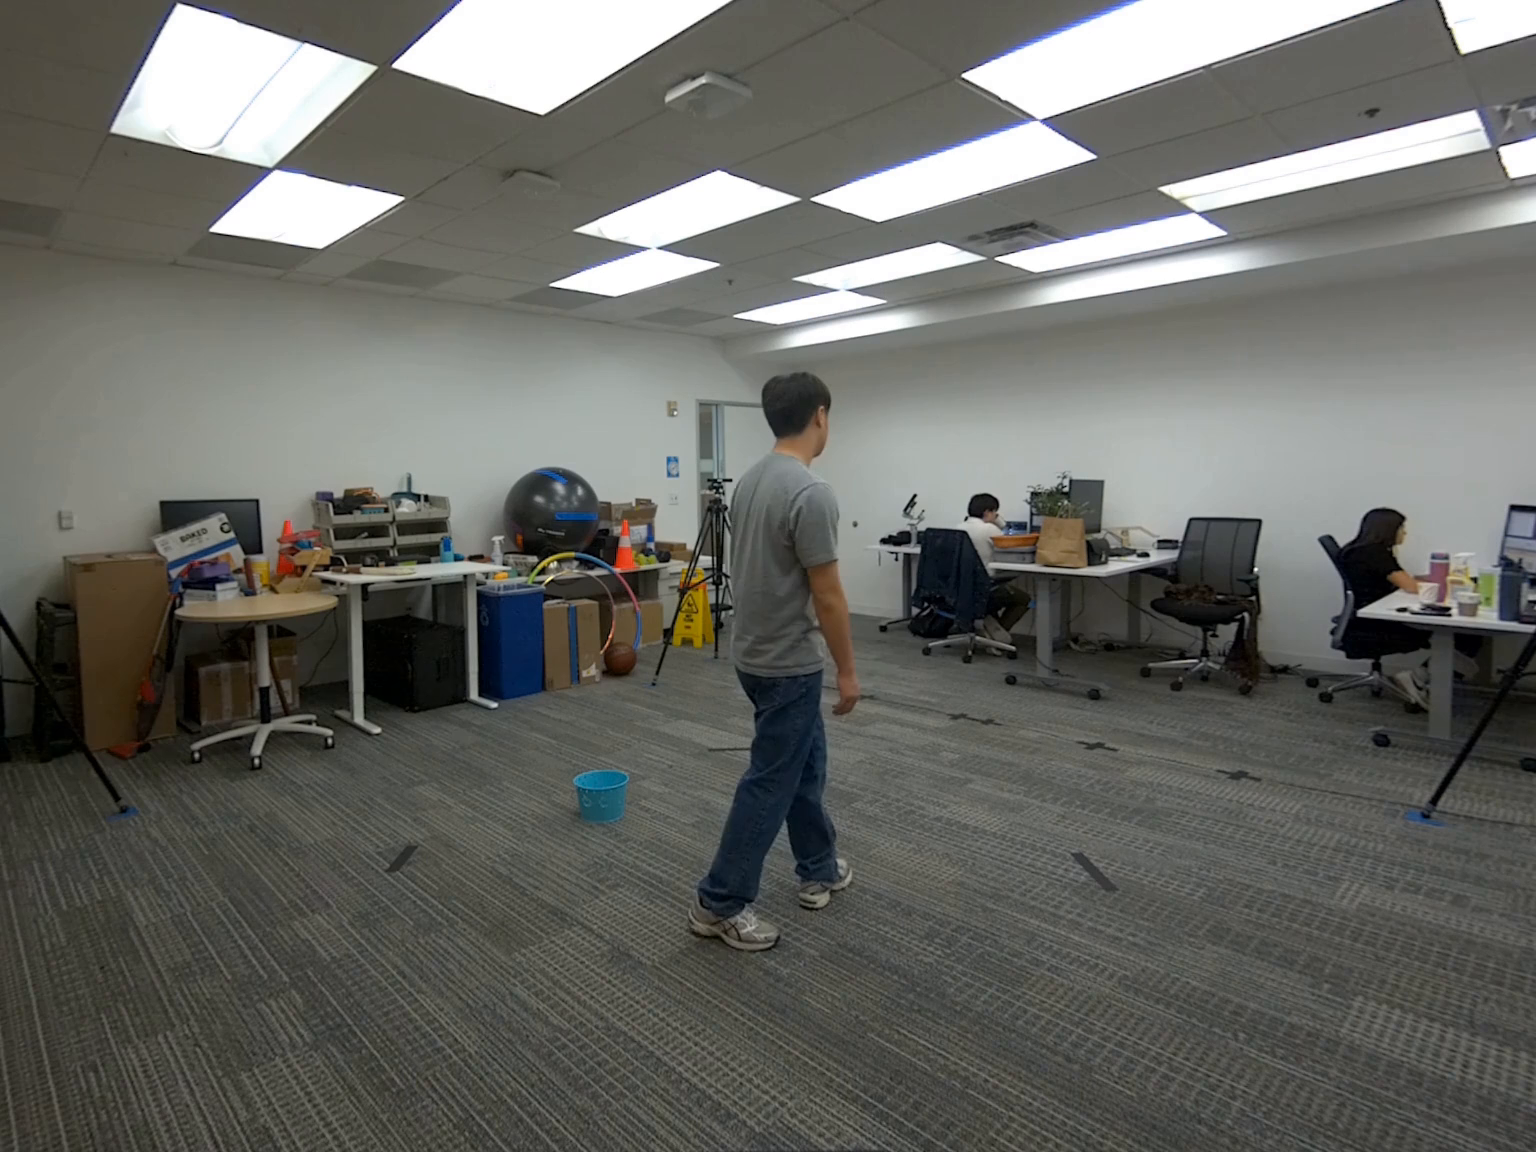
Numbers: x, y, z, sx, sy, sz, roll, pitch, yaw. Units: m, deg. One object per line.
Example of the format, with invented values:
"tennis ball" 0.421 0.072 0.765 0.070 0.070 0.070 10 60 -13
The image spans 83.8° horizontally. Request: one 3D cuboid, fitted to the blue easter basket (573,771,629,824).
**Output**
"blue easter basket" -0.694 0.922 3.592 0.243 0.155 0.245 -1 6 -2
